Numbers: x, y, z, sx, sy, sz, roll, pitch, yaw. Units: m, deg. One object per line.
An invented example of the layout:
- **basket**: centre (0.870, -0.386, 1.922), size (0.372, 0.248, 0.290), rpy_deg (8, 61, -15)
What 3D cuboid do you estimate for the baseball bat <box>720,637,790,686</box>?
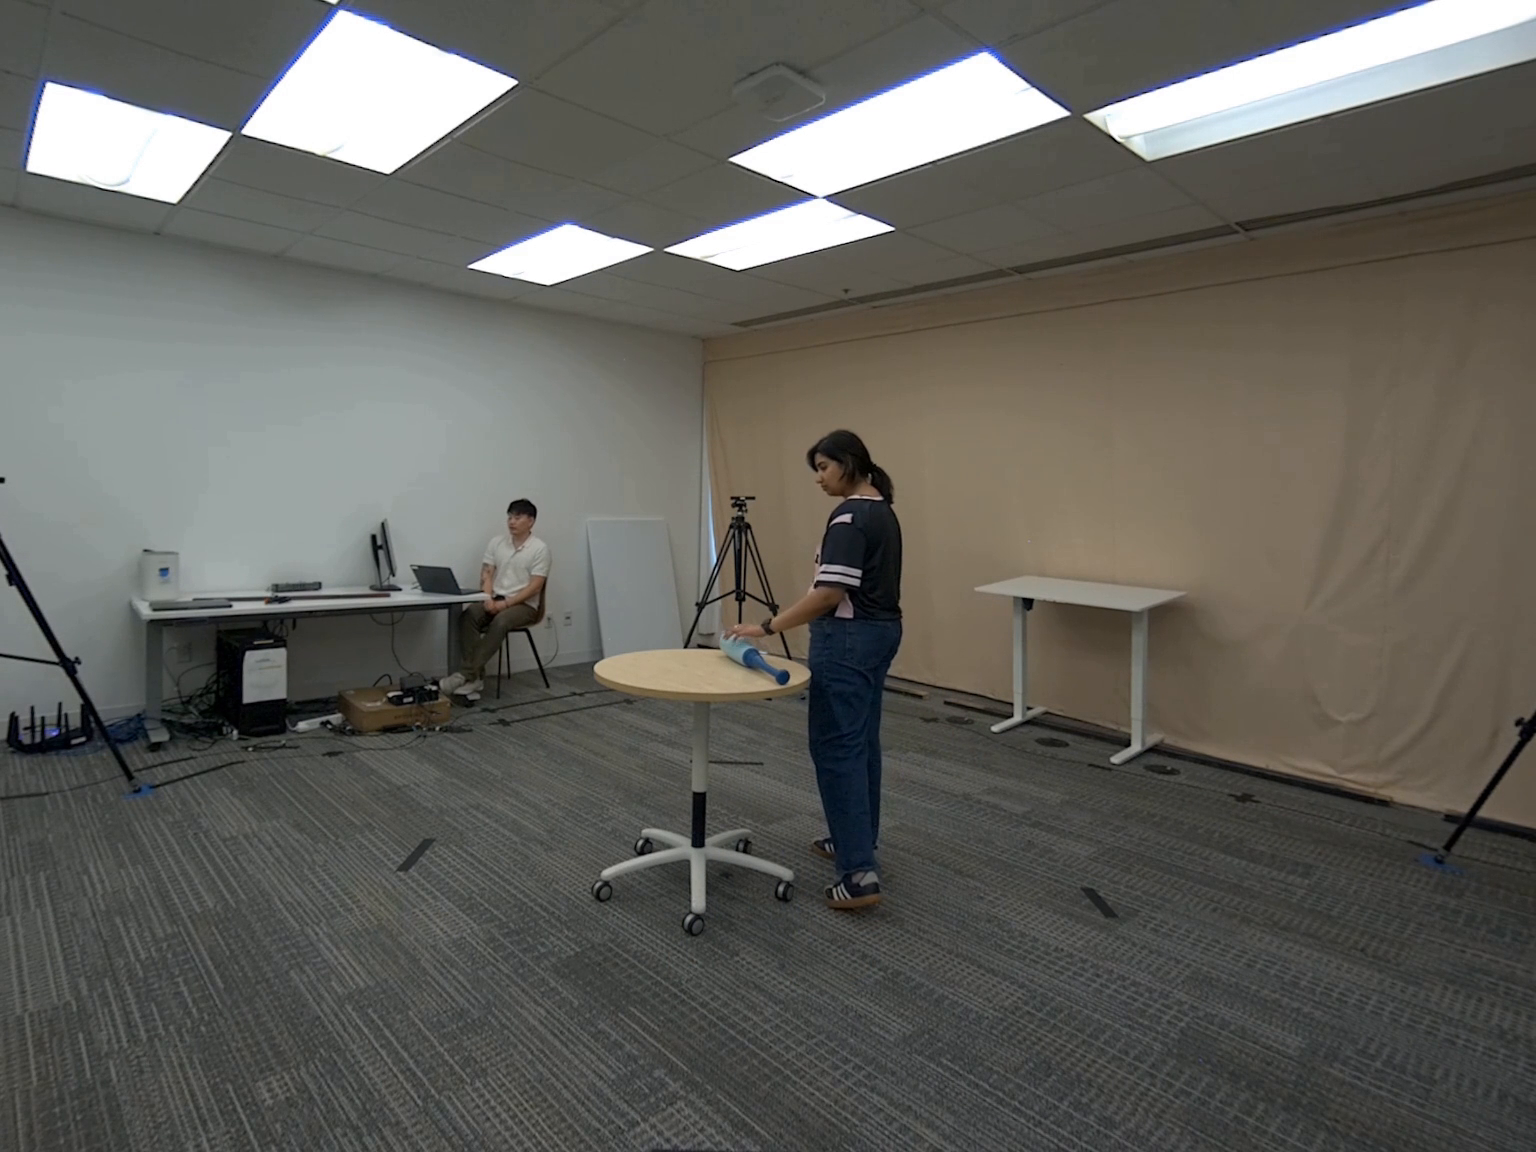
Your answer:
- **baseball bat**: centre (-0.058, 0.300, 2.994), size (0.088, 0.088, 0.554), rpy_deg (0, 9, -21)
